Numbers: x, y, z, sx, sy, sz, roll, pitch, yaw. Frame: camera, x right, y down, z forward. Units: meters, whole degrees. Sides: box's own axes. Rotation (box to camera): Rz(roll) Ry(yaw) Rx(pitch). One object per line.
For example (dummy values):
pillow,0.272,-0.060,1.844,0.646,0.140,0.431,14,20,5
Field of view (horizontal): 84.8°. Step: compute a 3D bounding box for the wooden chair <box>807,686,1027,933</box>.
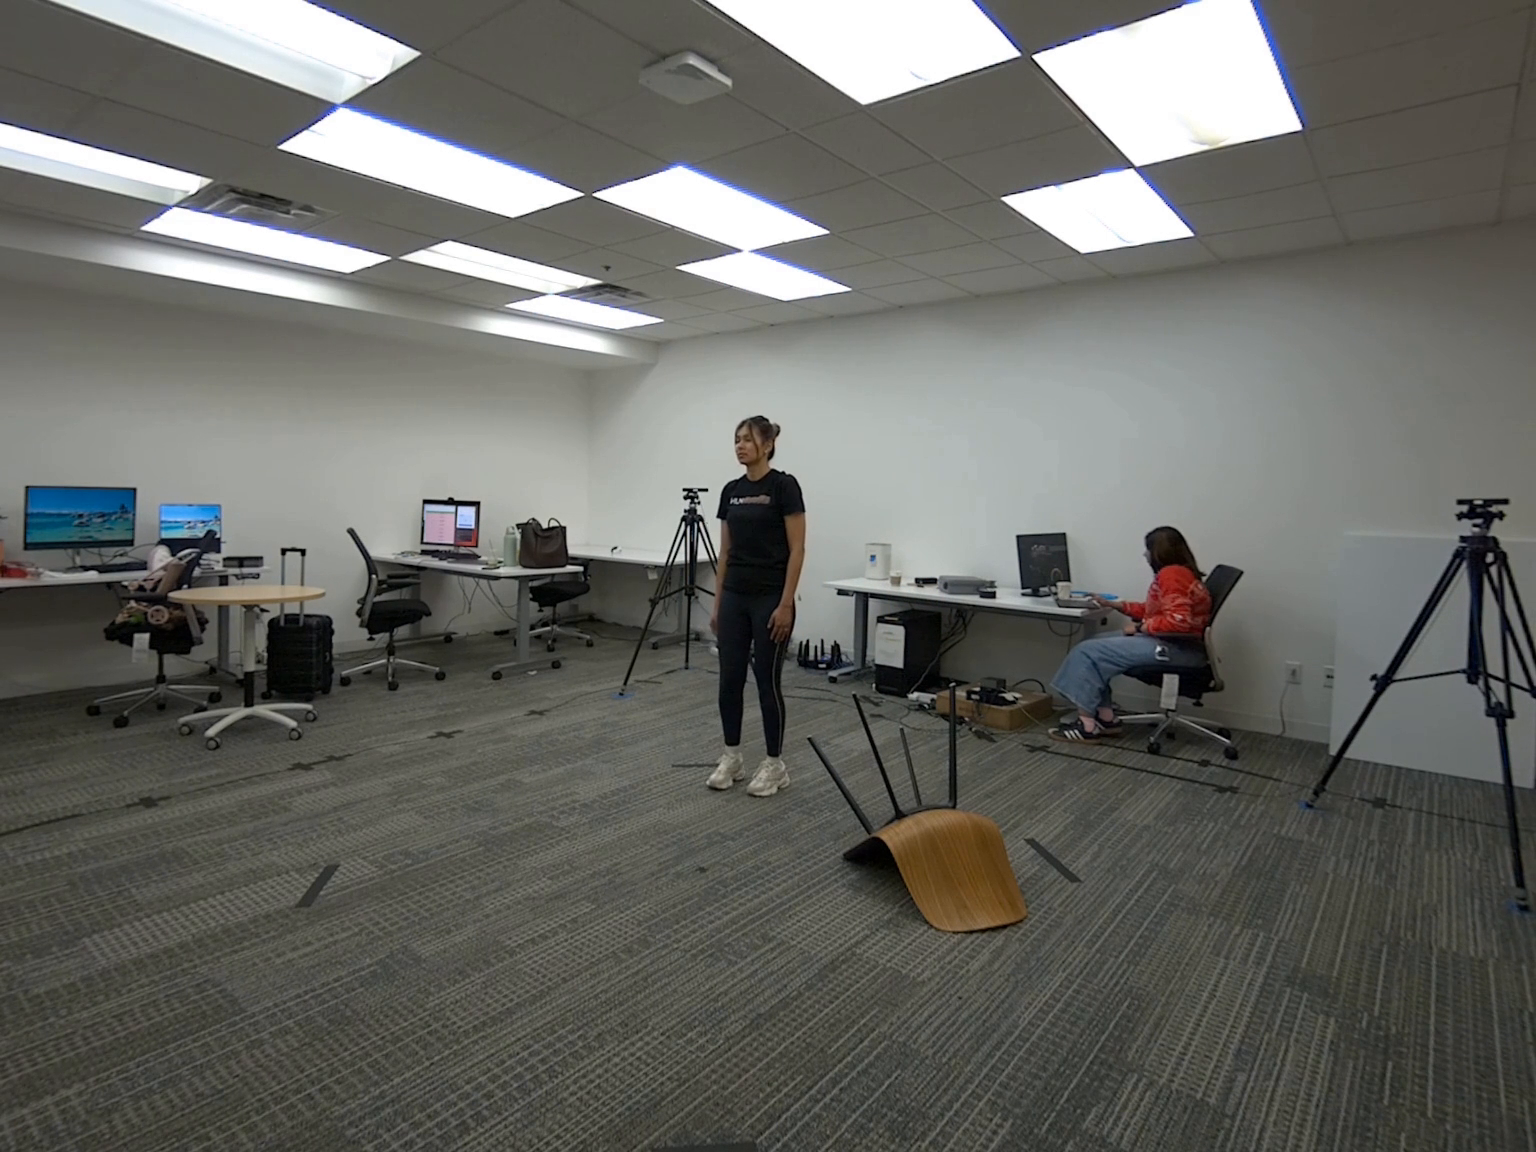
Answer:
wooden chair,0.533,0.910,3.161,0.468,0.907,0.517,-1,-36,-23
